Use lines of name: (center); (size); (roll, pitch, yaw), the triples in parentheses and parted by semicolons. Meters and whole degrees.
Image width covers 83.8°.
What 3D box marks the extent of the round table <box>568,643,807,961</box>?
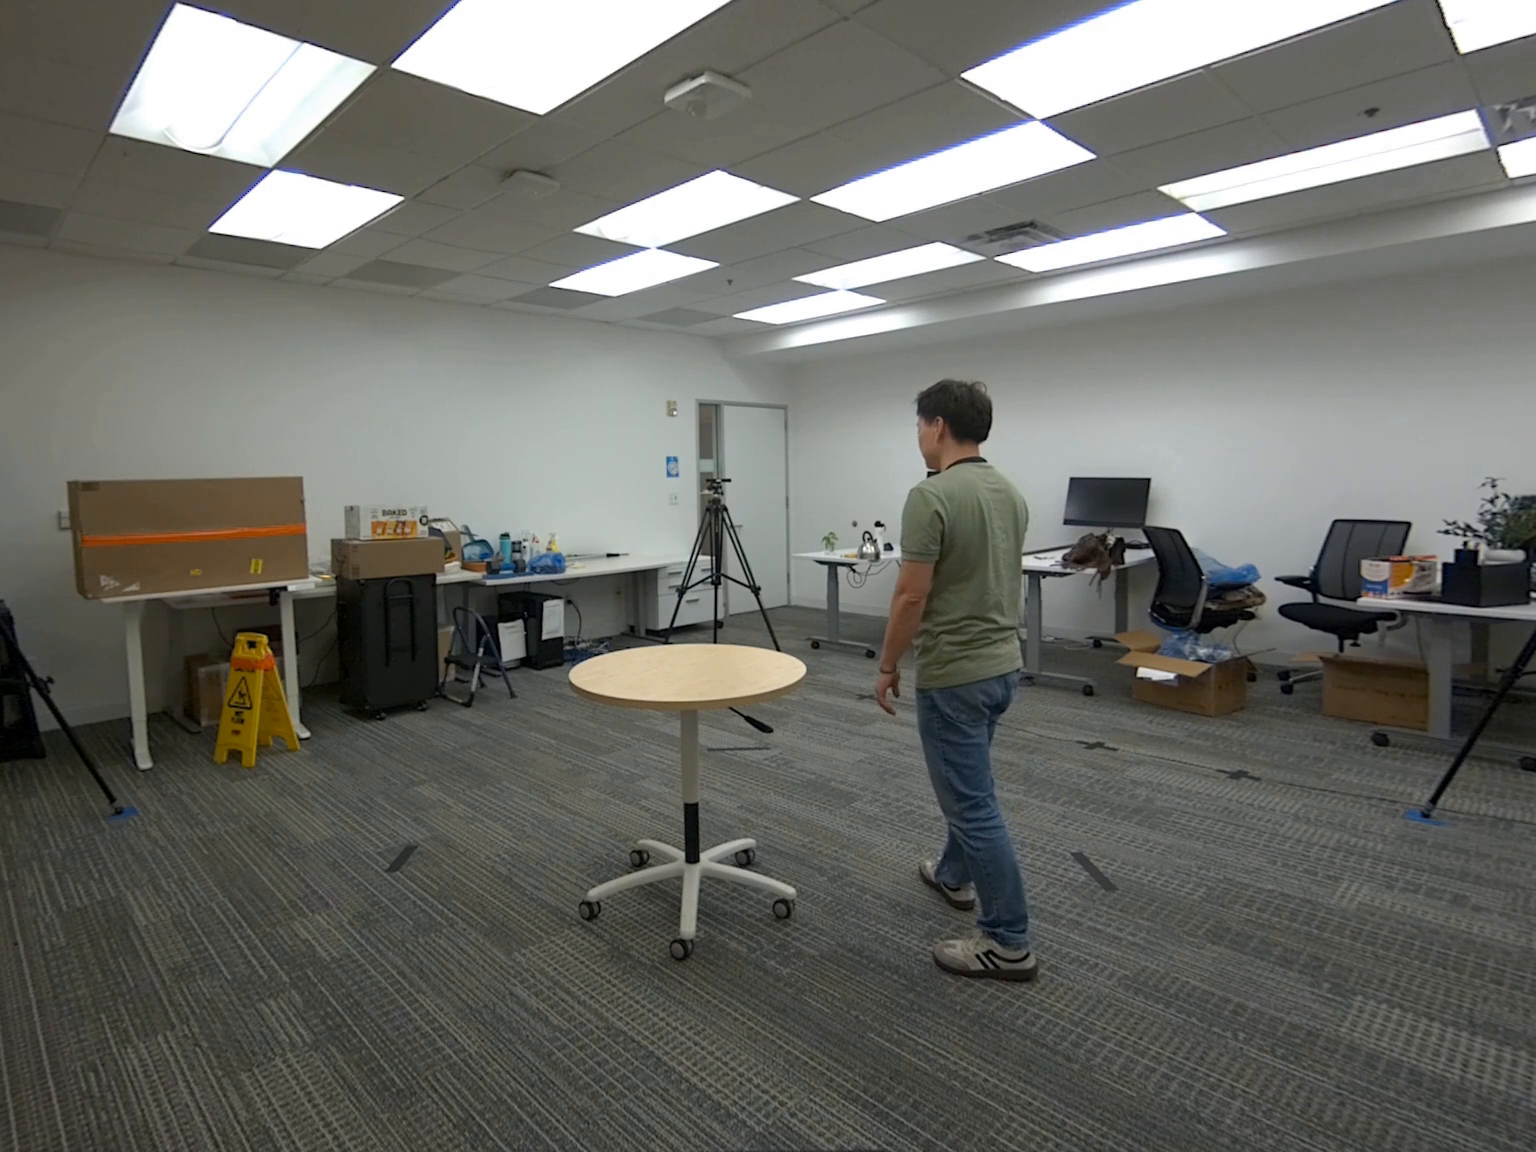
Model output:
round table: (-0.248, 0.692, 2.807); (0.763, 0.790, 0.769); (-1, 6, -2)
